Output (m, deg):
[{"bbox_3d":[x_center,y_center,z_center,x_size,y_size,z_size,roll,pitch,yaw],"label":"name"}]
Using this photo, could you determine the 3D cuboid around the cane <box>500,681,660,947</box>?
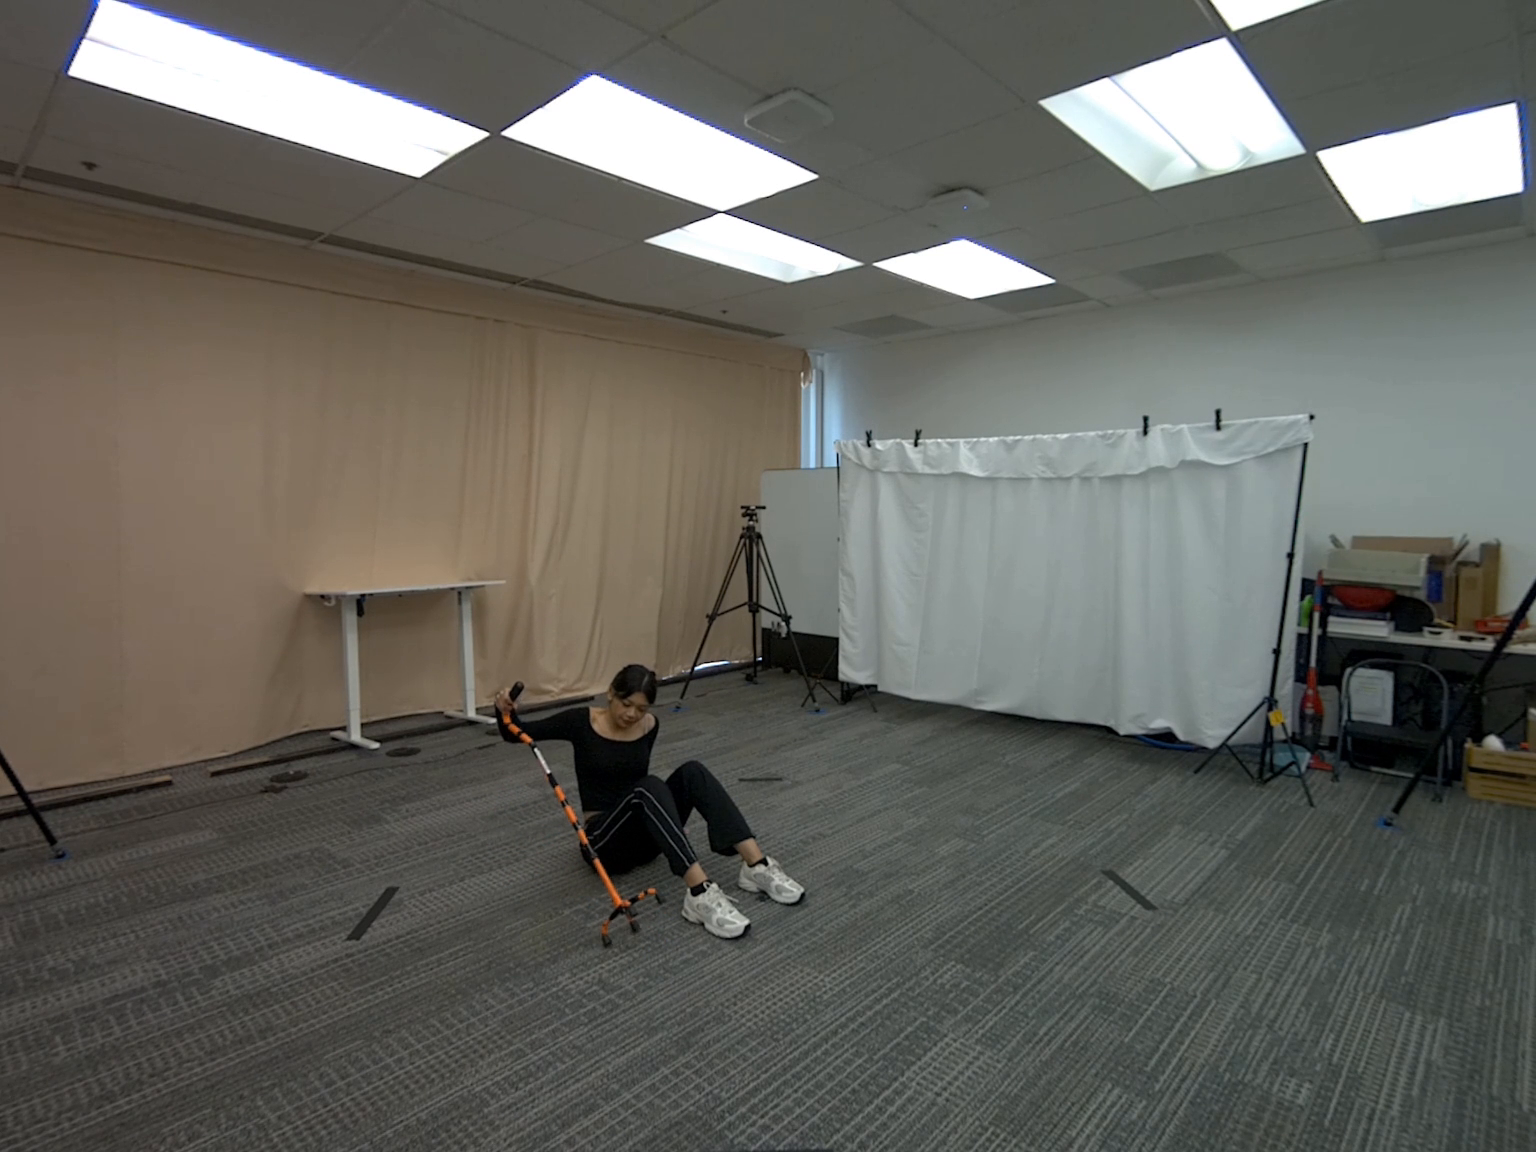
[{"bbox_3d":[-0.675,0.765,2.867,0.147,0.207,0.933,-1,46,-50],"label":"cane"}]
